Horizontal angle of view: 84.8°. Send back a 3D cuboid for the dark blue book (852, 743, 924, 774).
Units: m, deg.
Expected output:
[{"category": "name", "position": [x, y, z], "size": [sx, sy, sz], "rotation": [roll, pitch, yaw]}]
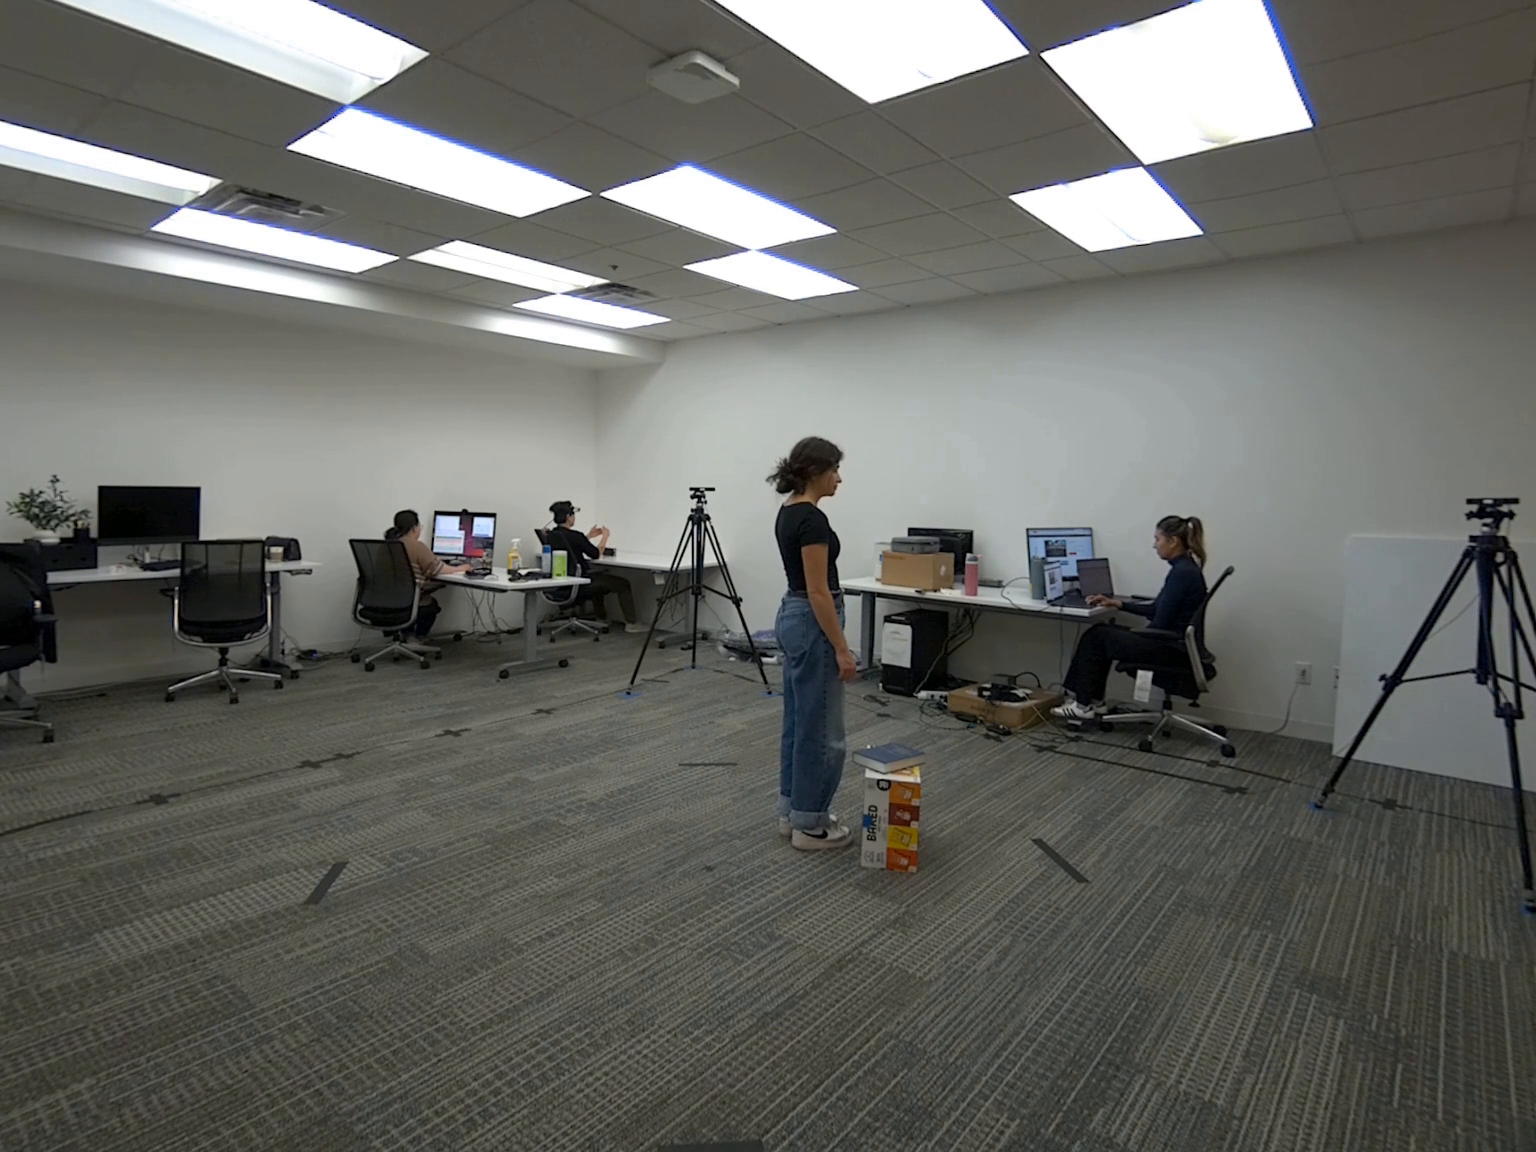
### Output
[{"category": "dark blue book", "position": [0.464, 0.703, 3.299], "size": [0.237, 0.045, 0.169], "rotation": [-2, 7, -40]}]
